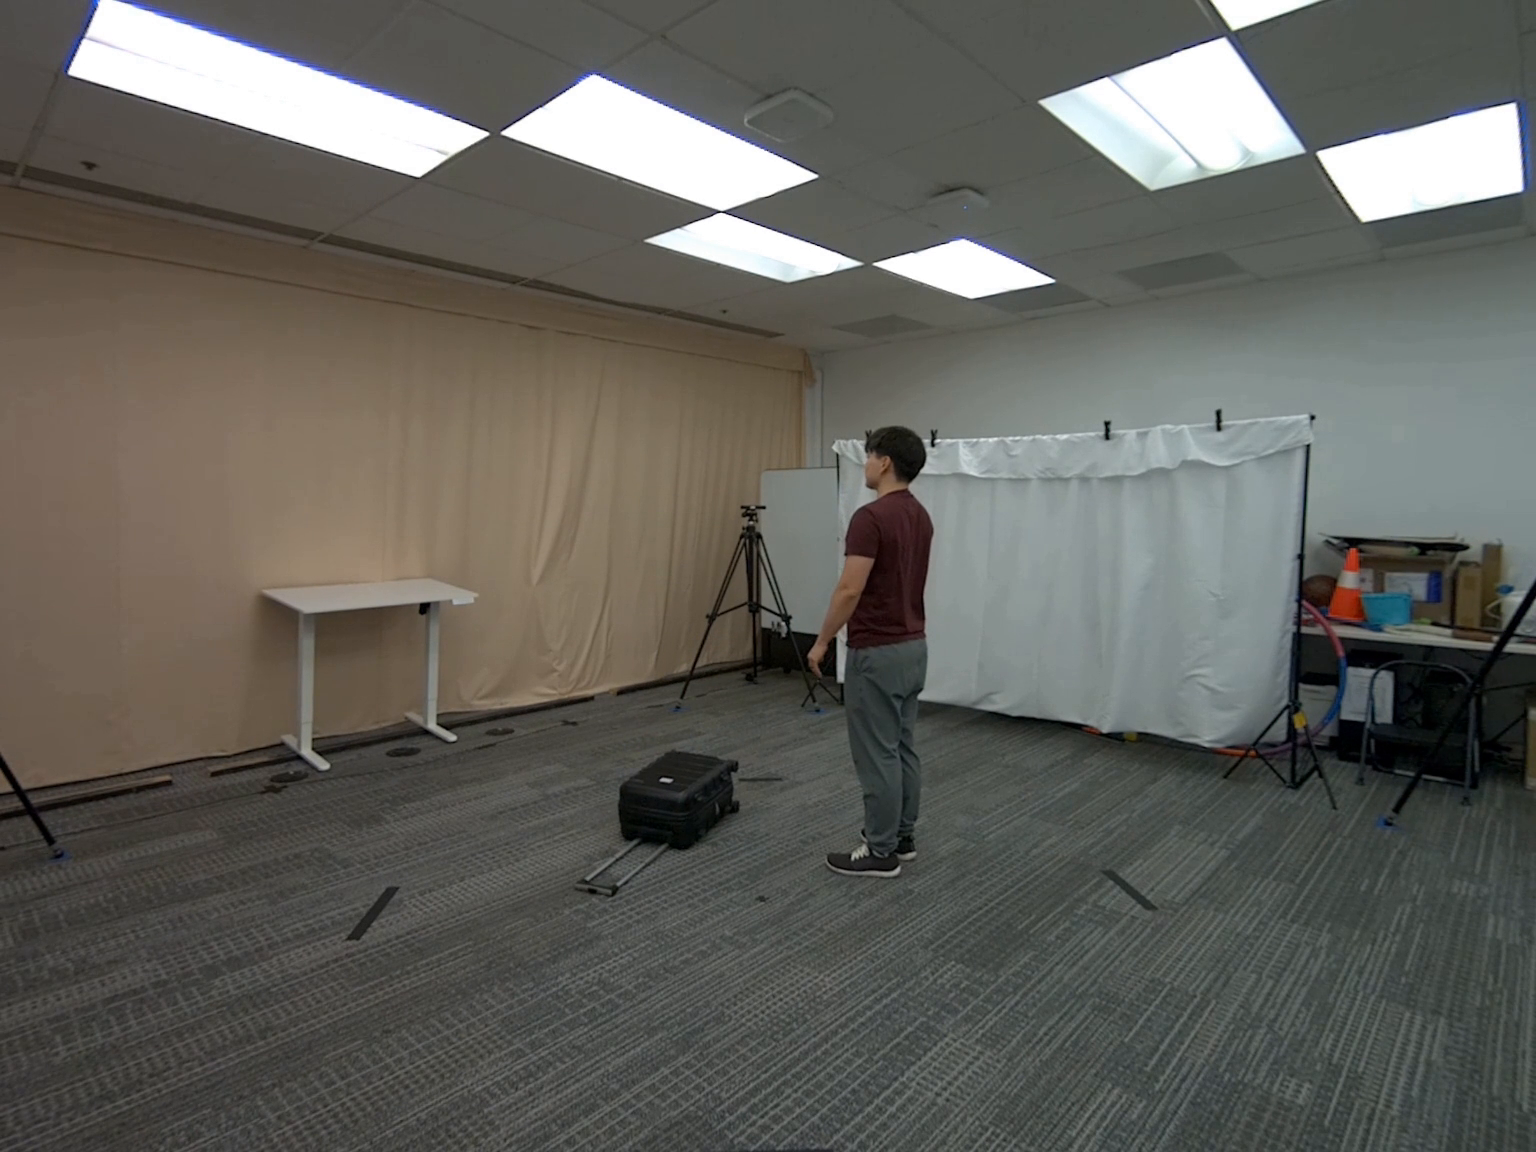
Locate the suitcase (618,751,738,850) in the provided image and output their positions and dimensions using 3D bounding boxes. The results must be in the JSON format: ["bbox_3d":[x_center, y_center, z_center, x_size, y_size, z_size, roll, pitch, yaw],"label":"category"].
[{"bbox_3d":[-0.459,0.978,3.476,0.393,0.256,0.958,3,6,21],"label":"suitcase"}]
